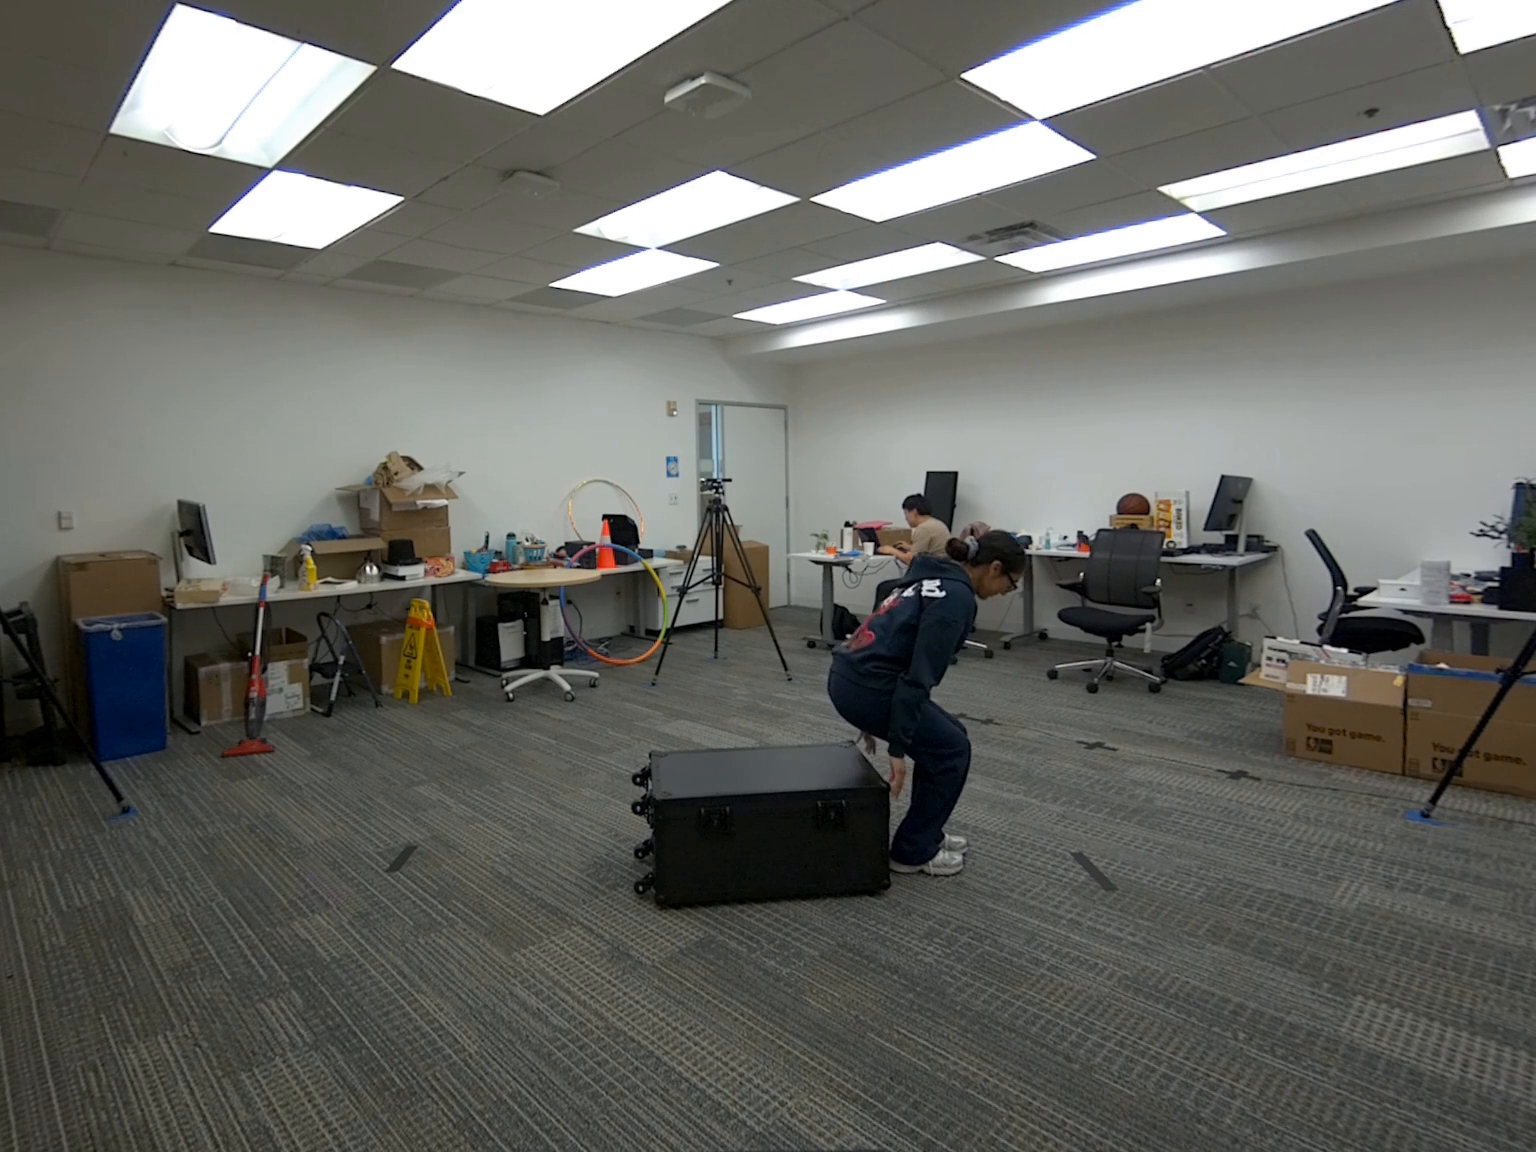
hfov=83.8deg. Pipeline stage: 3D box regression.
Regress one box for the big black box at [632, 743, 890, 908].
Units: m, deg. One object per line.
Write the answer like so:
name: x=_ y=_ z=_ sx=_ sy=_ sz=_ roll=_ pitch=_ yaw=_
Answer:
big black box: x=-0.053 y=0.855 z=3.026 sx=0.856 sy=0.394 sz=0.527 roll=-1 pitch=6 yaw=-7
